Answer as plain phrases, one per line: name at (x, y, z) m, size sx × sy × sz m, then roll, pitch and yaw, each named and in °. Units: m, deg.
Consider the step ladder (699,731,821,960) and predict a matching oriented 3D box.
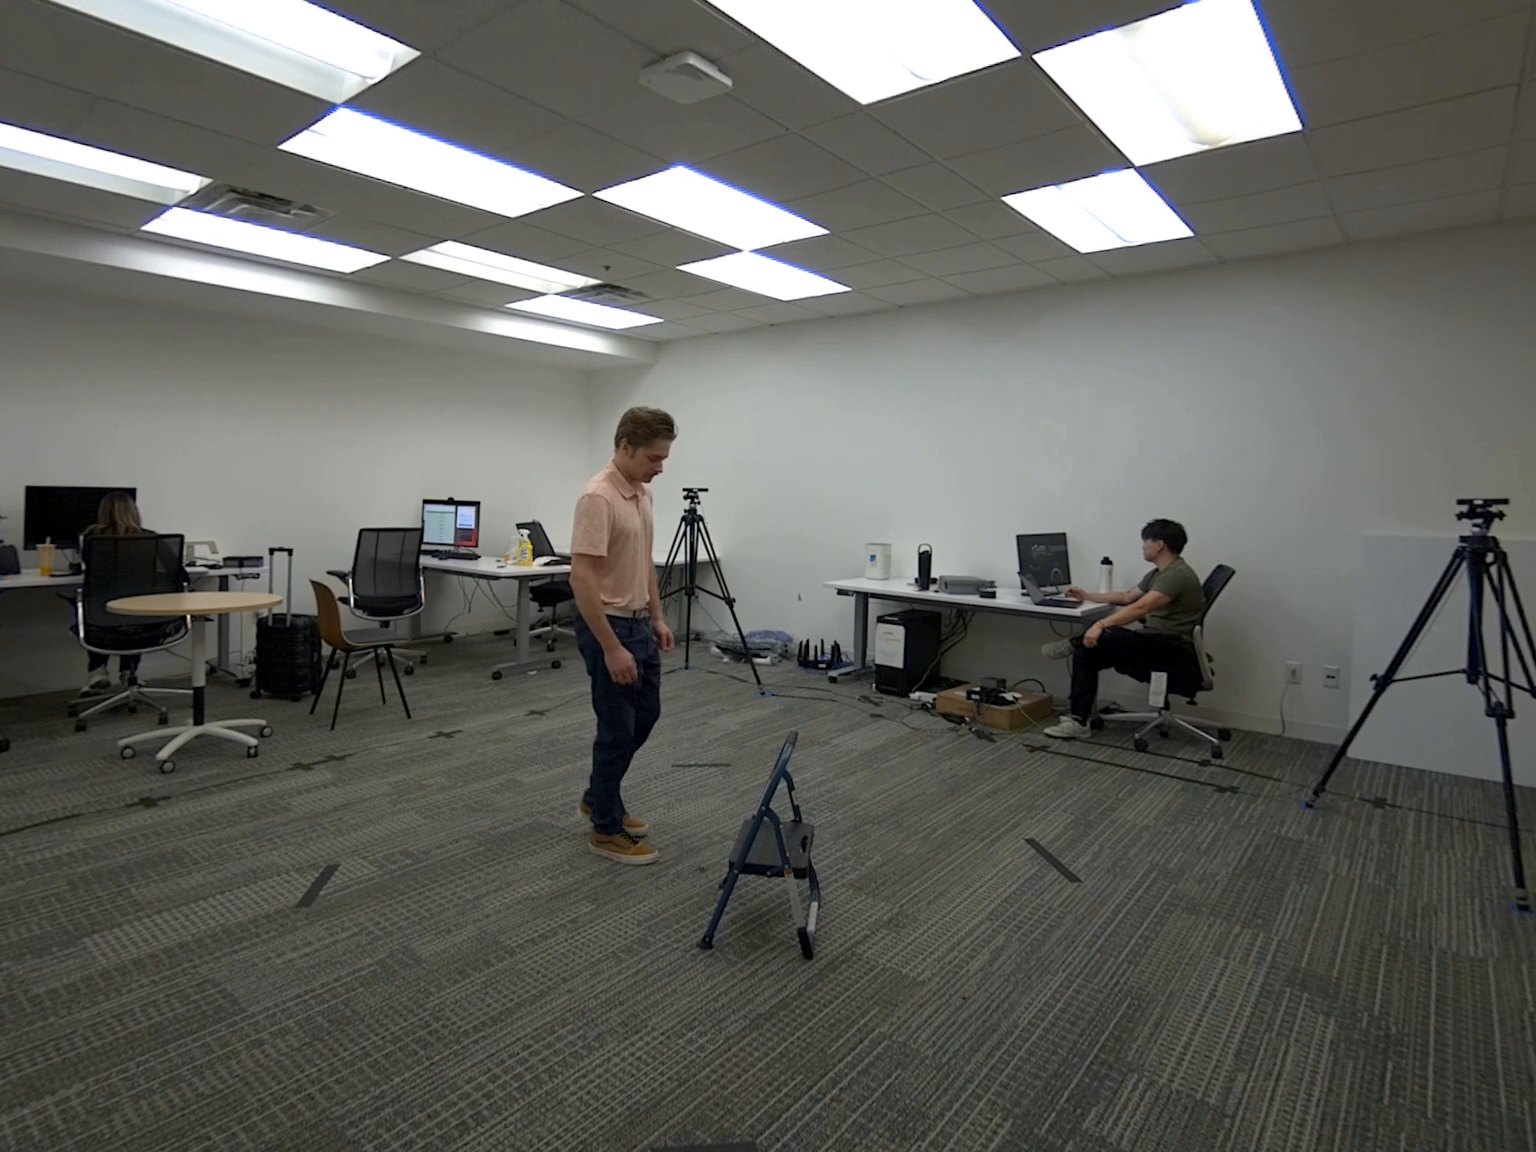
step ladder at (-0.013, 0.807, 2.731) m, size 0.353 × 0.604 × 0.428 m, roll 2°, pitch 4°, yaw 8°
